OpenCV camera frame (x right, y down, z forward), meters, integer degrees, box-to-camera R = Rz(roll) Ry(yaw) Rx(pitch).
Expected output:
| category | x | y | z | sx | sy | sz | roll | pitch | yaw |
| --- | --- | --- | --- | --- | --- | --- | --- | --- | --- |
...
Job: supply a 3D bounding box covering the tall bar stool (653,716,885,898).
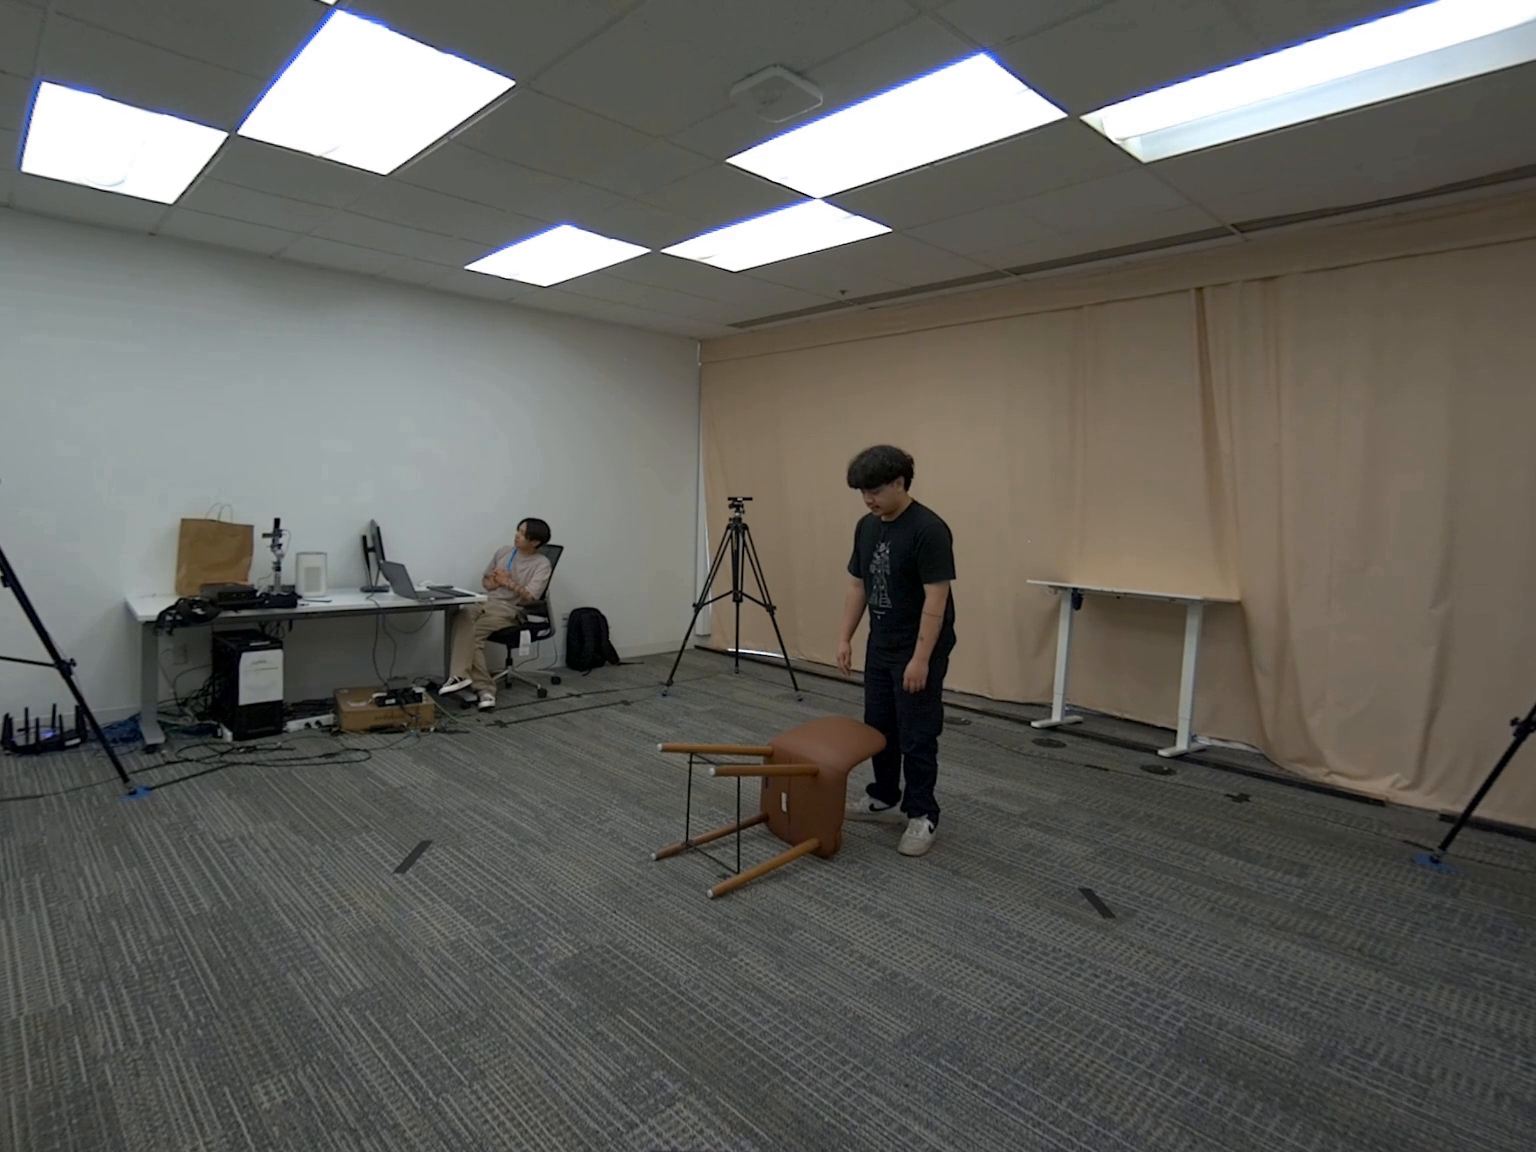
| category | x | y | z | sx | sy | sz | roll | pitch | yaw |
| --- | --- | --- | --- | --- | --- | --- | --- | --- | --- |
| tall bar stool | 0.017 | 0.864 | 3.321 | 0.870 | 0.466 | 0.468 | -3 | 5 | -38 |
